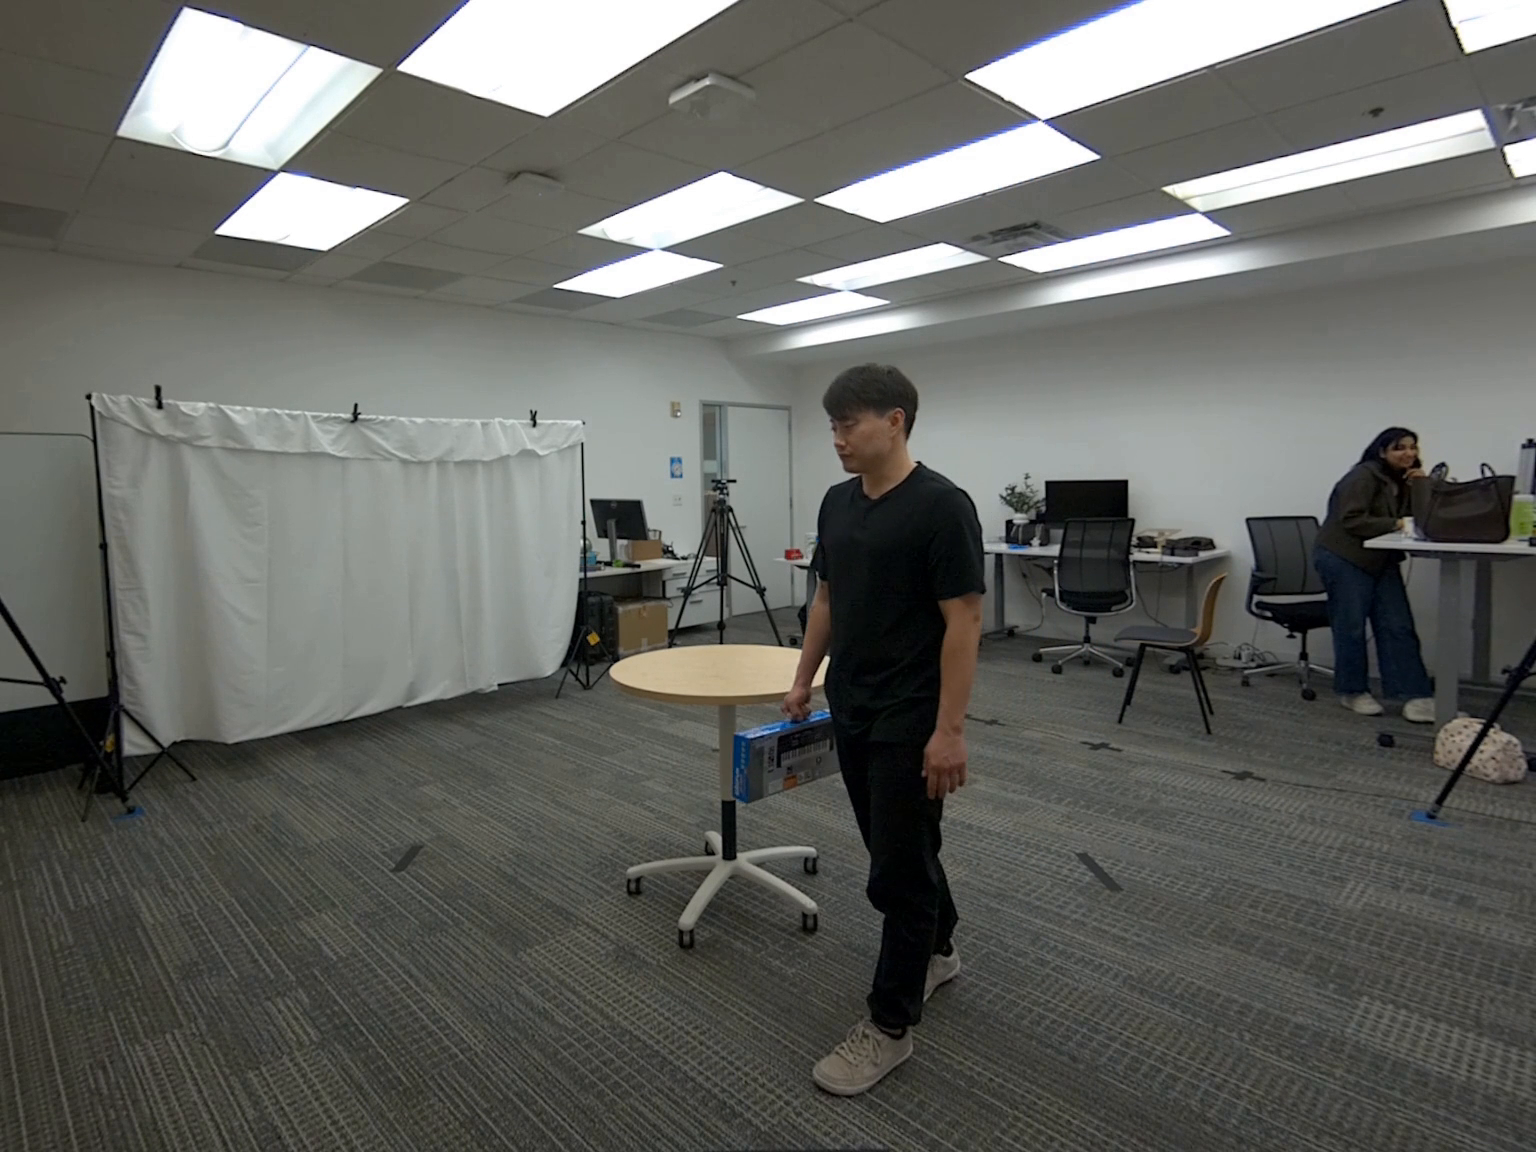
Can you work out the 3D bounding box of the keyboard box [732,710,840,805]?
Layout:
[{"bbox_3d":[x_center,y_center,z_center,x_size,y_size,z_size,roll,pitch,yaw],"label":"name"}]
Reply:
[{"bbox_3d":[0.087,0.481,2.321,0.425,0.175,0.061,-6,8,-43],"label":"keyboard box"}]
